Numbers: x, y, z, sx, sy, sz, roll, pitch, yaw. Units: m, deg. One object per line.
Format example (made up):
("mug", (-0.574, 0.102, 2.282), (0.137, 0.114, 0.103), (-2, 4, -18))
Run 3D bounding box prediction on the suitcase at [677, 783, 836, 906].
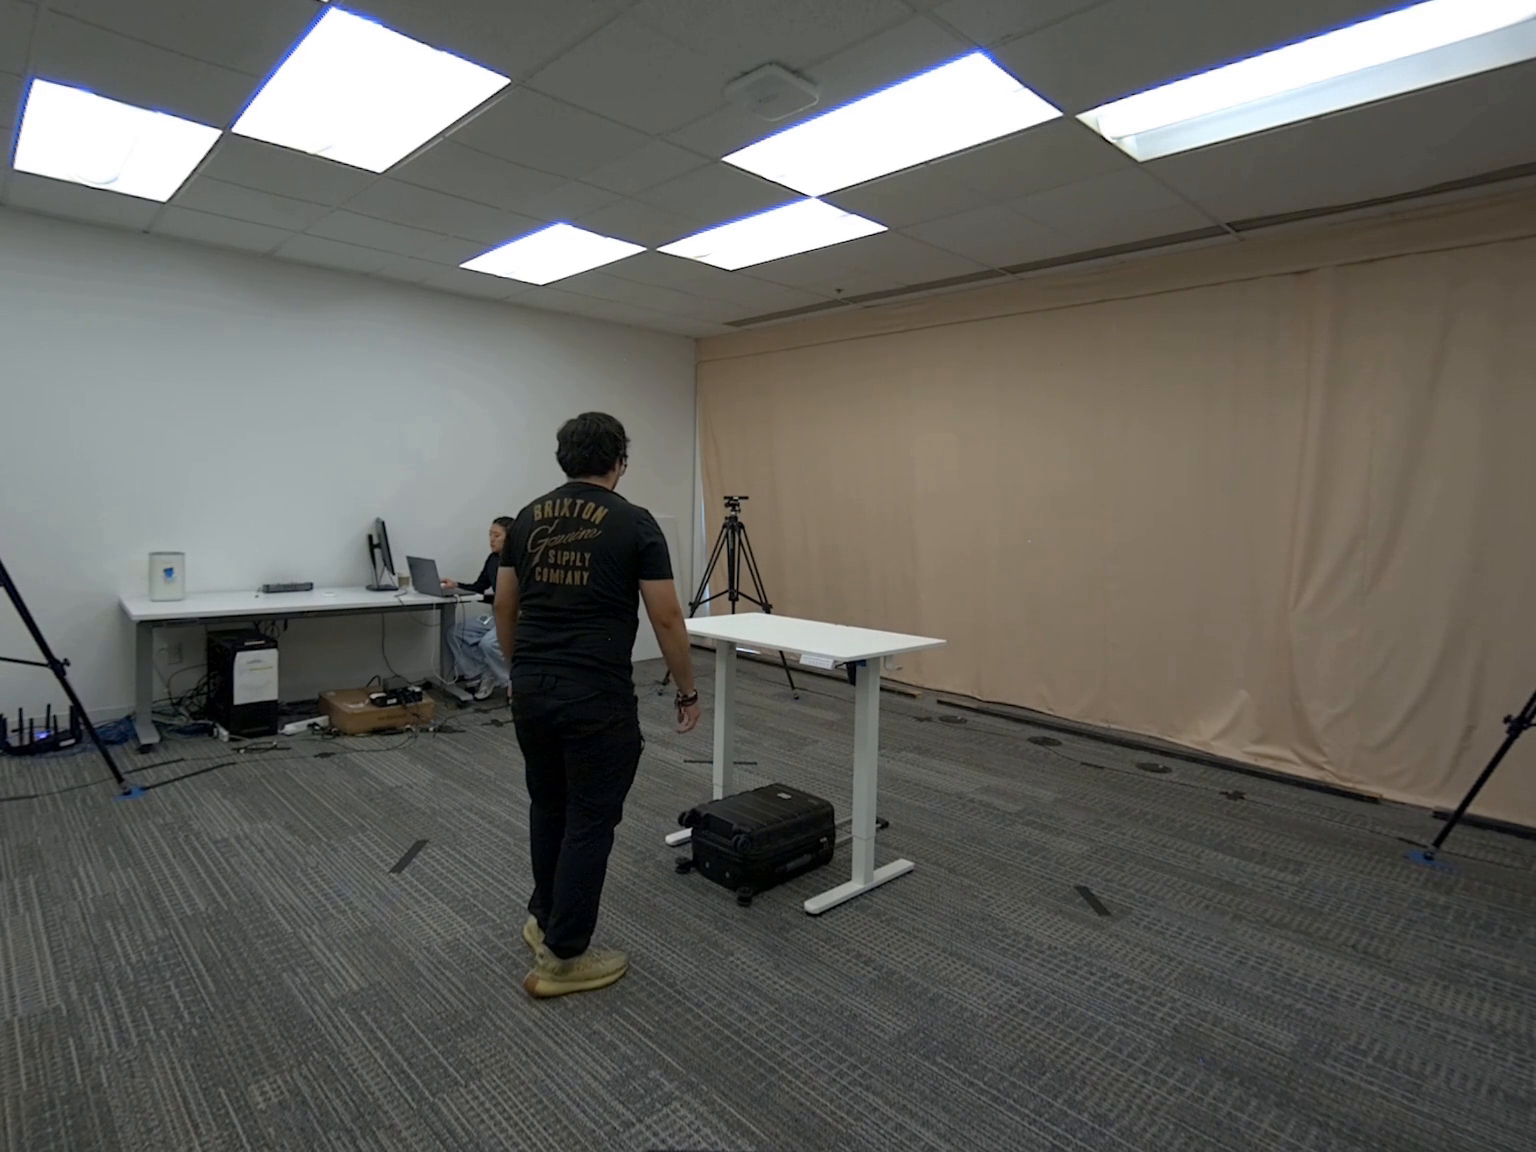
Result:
("suitcase", (0.112, 0.967, 3.317), (0.394, 0.256, 0.957), (4, 7, 45))
